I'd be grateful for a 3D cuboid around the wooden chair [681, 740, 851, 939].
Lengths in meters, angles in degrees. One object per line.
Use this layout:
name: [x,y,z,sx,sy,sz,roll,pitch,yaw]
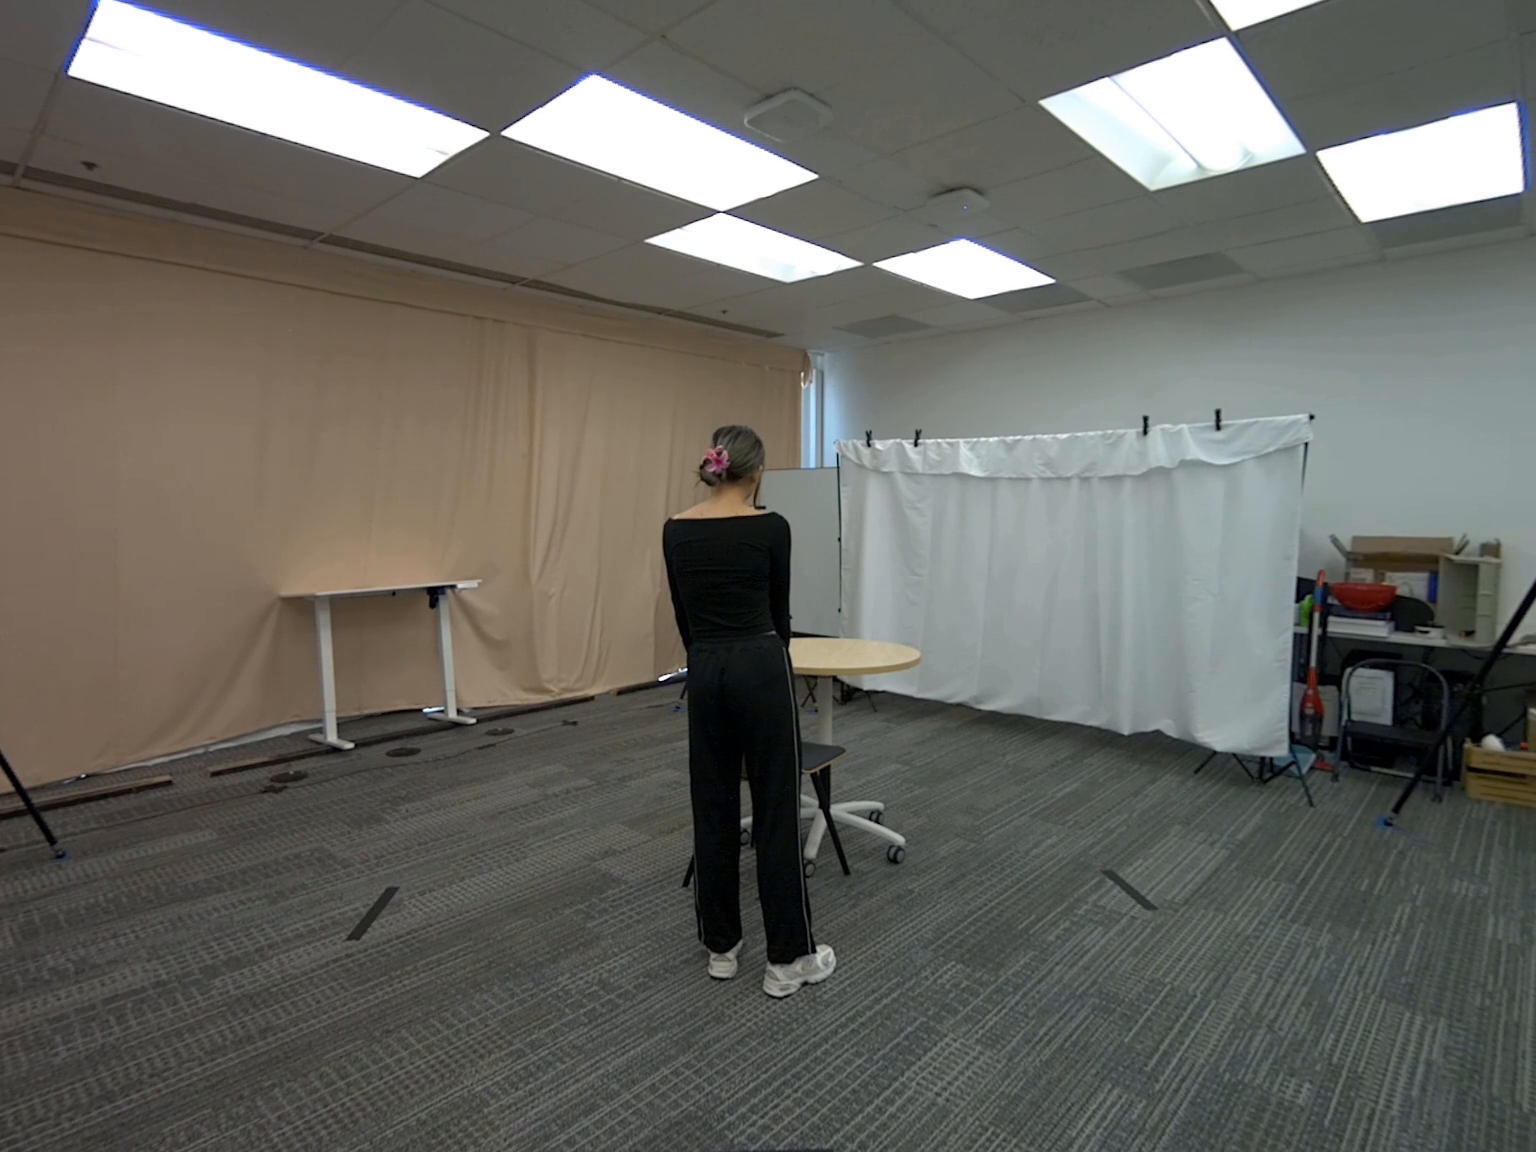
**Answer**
wooden chair: [0.000,0.702,3.096,0.493,0.873,0.509,2,8,36]
